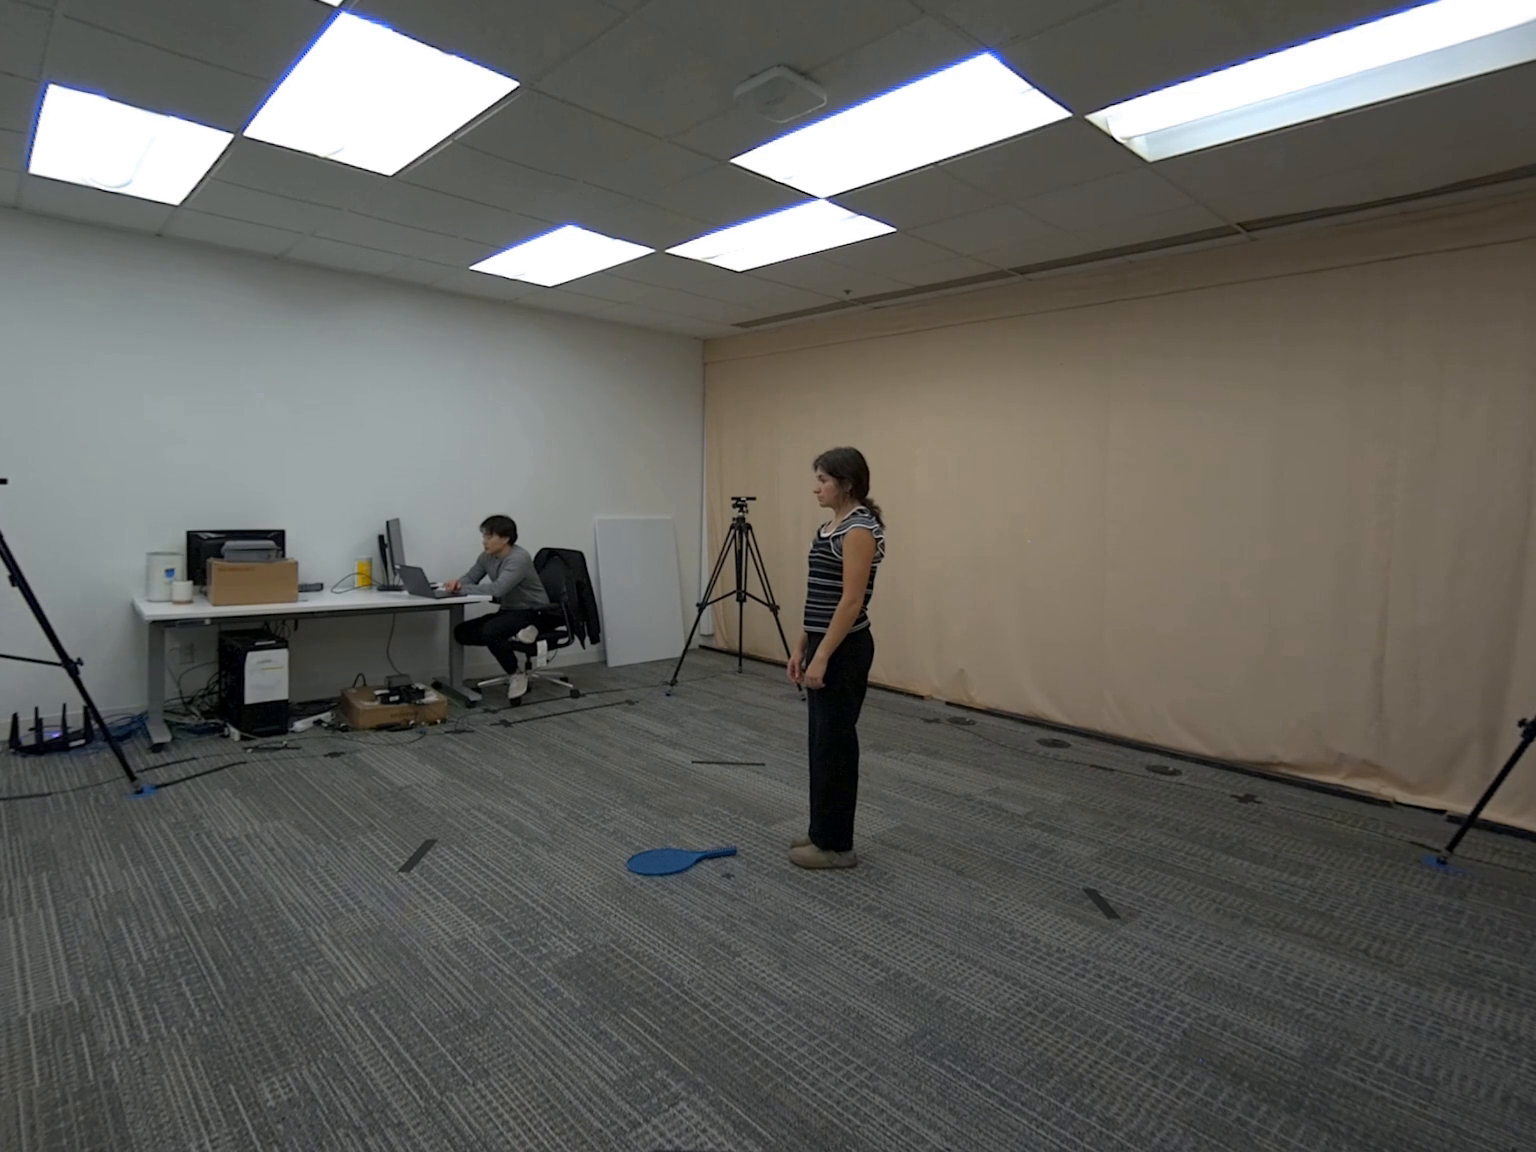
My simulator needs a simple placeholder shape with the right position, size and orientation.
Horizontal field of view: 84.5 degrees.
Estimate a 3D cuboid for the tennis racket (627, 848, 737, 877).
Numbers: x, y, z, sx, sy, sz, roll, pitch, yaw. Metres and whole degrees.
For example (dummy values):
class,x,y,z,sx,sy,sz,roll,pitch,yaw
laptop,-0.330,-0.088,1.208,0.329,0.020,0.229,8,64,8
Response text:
class,x,y,z,sx,sy,sz,roll,pitch,yaw
tennis racket,-0.336,1.078,3.217,0.427,0.031,0.217,-2,7,-19
